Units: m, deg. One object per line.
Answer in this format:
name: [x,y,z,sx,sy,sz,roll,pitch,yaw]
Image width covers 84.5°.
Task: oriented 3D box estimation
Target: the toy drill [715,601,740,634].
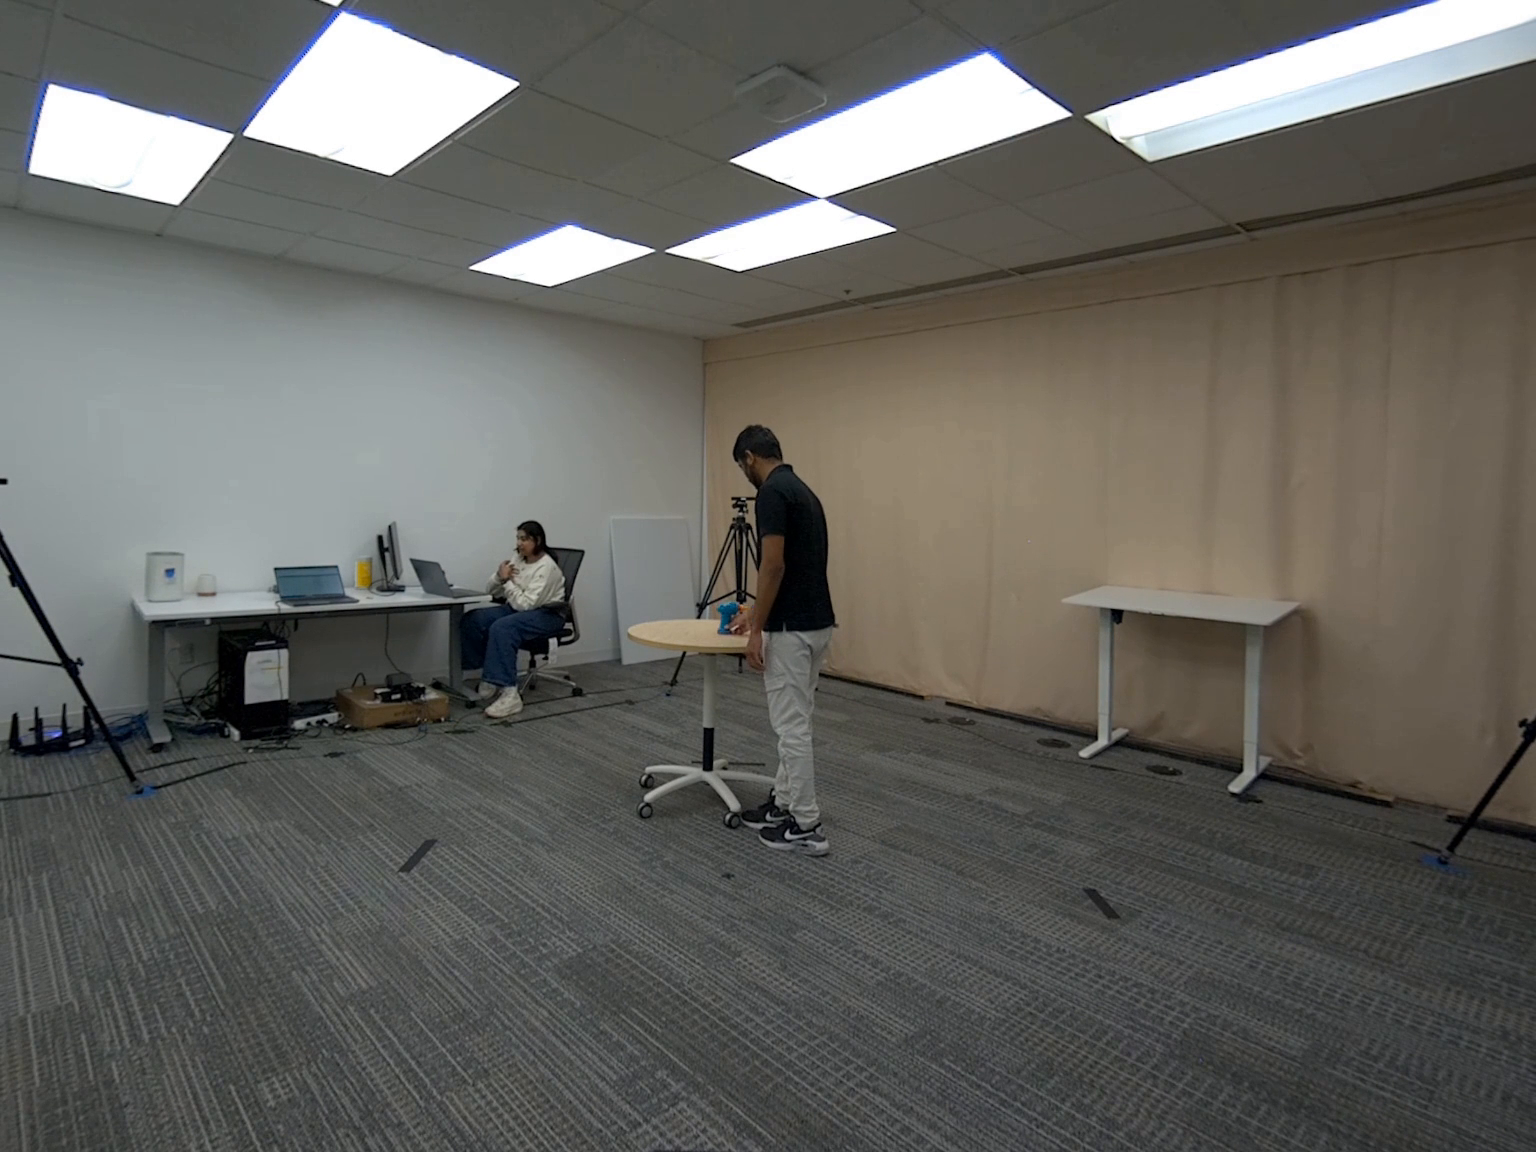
toy drill: [-0.166,0.189,3.826,0.166,0.146,0.062,3,2,-27]
